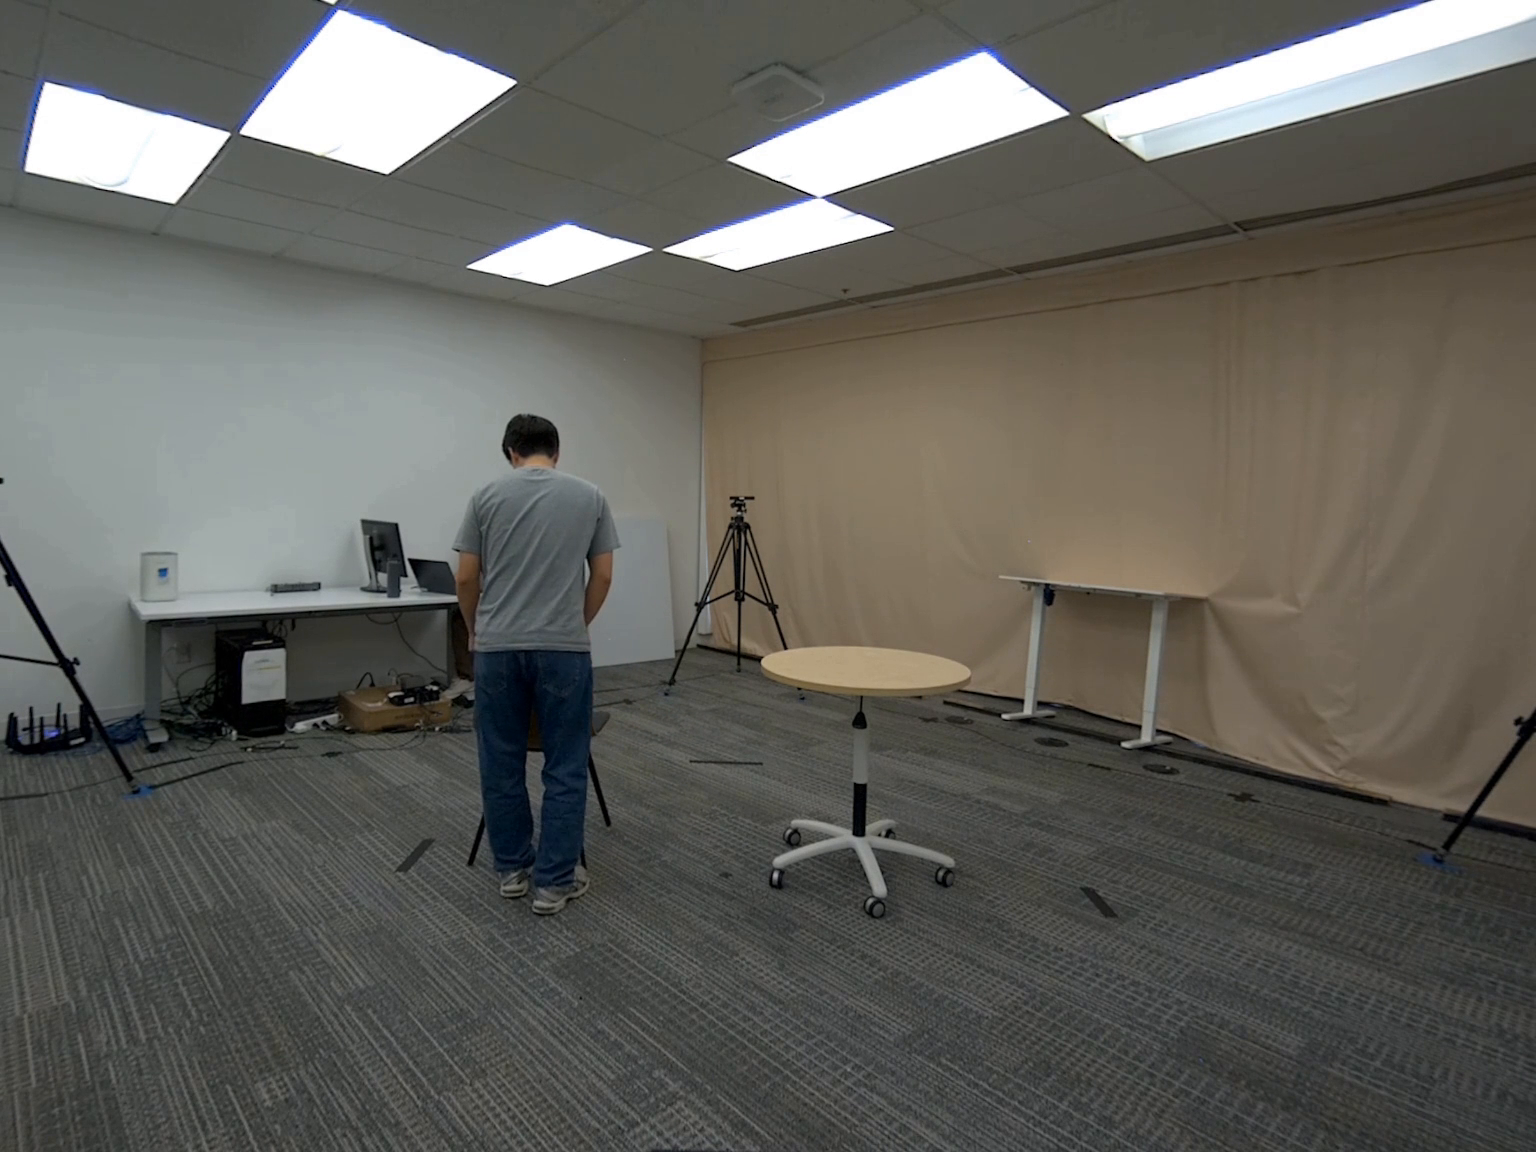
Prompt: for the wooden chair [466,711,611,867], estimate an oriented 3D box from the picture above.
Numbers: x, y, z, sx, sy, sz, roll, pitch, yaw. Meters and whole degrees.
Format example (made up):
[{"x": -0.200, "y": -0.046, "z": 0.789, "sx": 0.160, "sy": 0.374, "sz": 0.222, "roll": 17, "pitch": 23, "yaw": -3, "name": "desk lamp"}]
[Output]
[{"x": -0.873, "y": 0.638, "z": 3.320, "sx": 0.479, "sy": 0.872, "sz": 0.524, "roll": 1, "pitch": 7, "yaw": 3, "name": "wooden chair"}]
